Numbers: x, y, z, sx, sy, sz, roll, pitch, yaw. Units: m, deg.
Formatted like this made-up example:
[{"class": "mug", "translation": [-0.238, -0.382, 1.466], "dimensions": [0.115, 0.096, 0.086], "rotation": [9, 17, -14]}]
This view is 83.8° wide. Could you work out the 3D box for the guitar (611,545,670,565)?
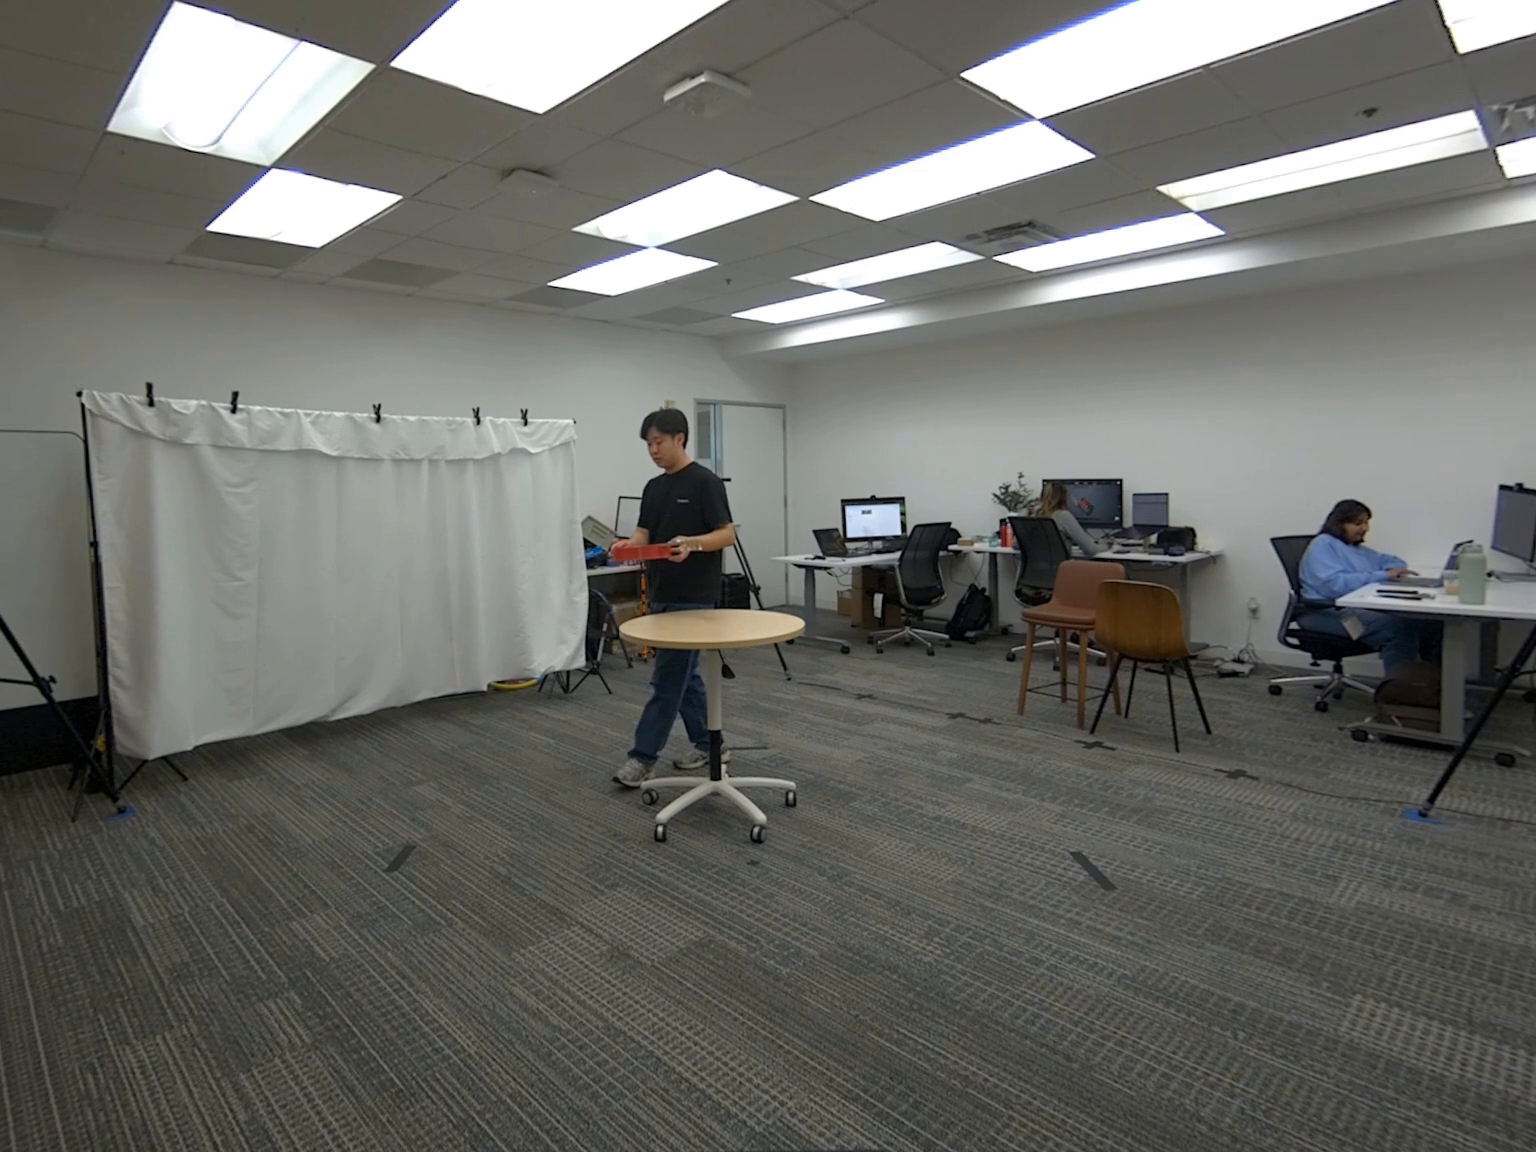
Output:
[{"class": "guitar", "translation": [-0.484, -0.105, 3.654], "dimensions": [0.189, 0.070, 0.510], "rotation": [-10, 5, -31]}]
